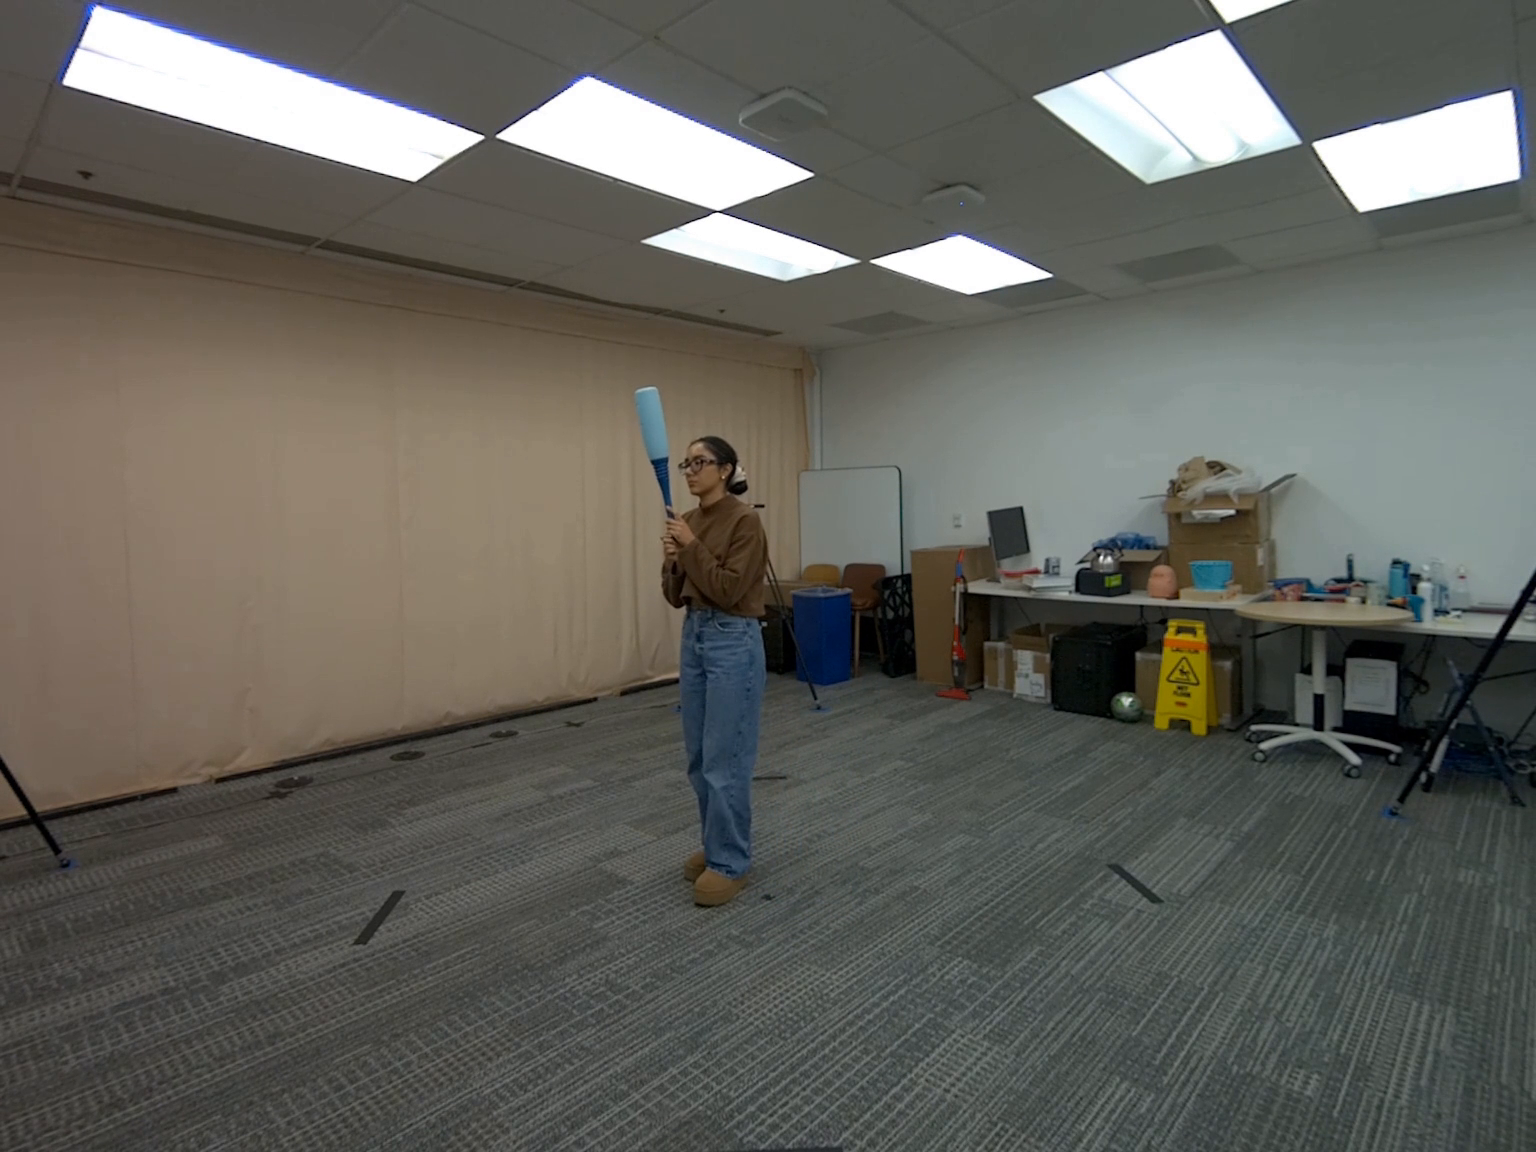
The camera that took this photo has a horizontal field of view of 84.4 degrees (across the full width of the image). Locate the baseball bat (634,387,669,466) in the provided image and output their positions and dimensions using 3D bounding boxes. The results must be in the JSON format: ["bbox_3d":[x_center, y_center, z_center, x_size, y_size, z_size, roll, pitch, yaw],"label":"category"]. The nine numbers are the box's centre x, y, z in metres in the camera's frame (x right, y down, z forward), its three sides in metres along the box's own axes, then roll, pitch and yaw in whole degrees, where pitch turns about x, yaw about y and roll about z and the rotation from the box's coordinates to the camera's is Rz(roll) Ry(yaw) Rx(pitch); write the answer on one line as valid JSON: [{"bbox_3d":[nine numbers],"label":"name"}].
[{"bbox_3d":[-0.378,-0.399,2.986,0.089,0.541,0.089,-10,5,-1],"label":"baseball bat"}]
